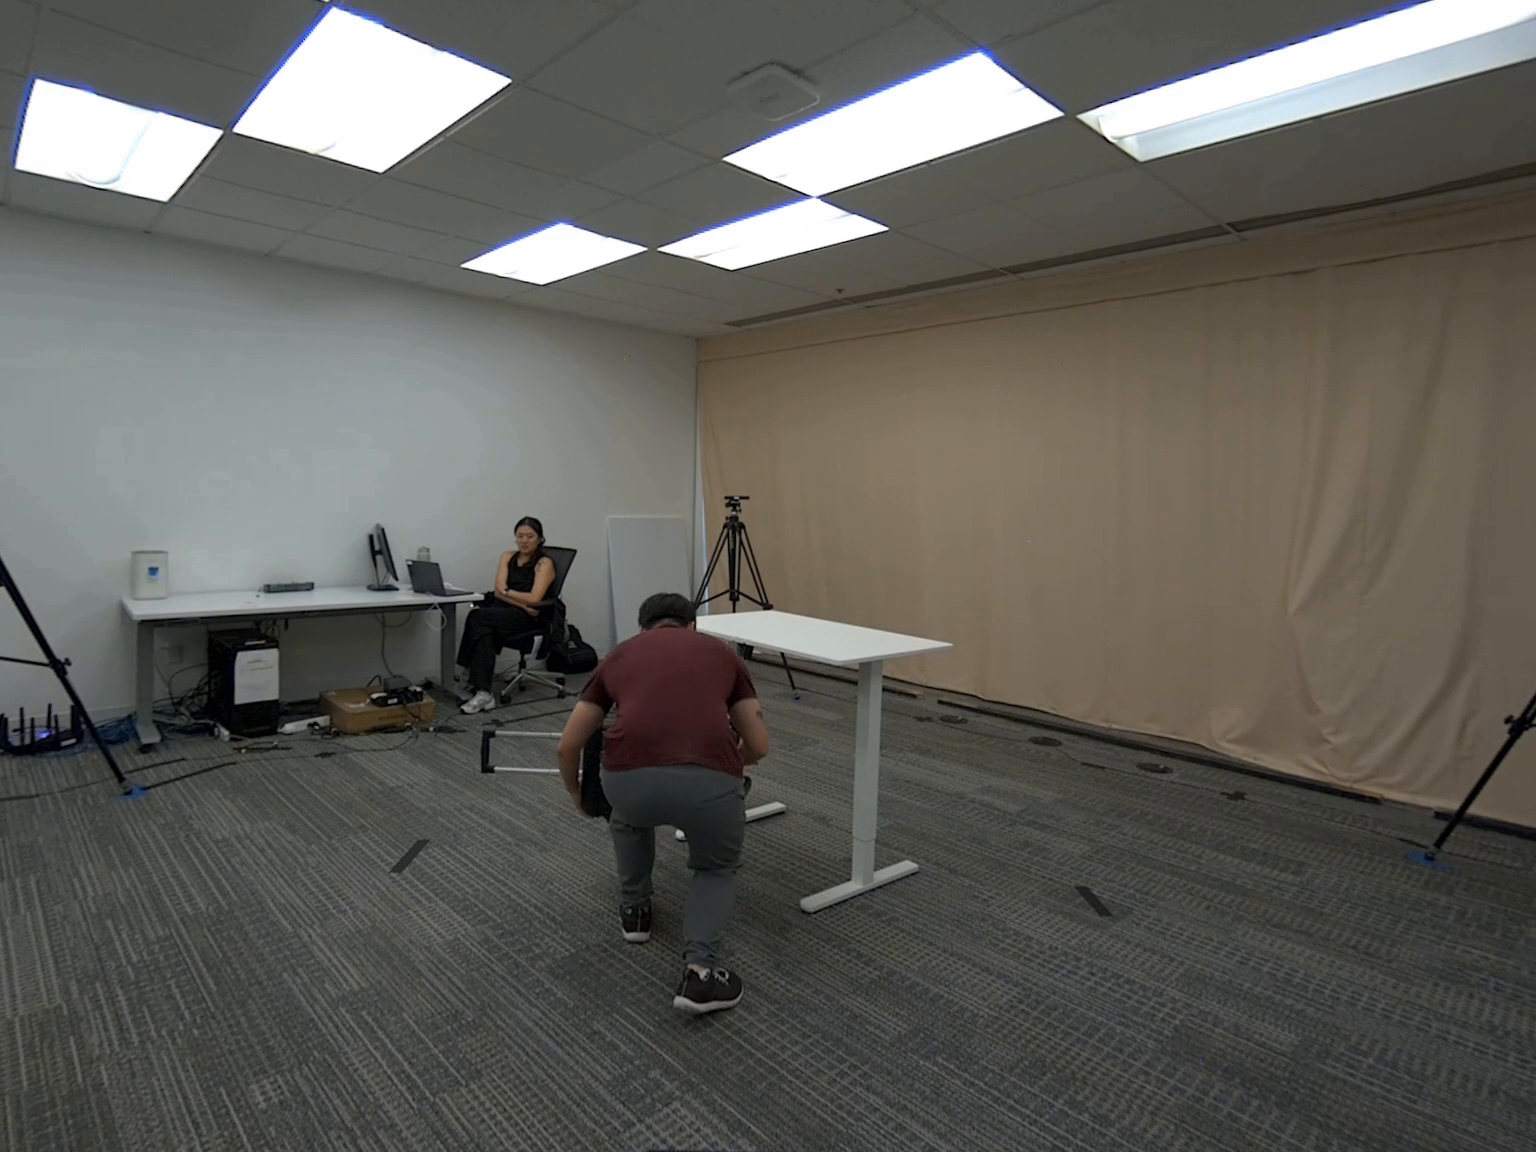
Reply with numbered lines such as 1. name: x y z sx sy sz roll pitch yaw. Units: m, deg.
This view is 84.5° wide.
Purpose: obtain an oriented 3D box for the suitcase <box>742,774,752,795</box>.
1. suitcase: -0.572 0.644 2.948 0.986 0.384 0.255 4 0 9
